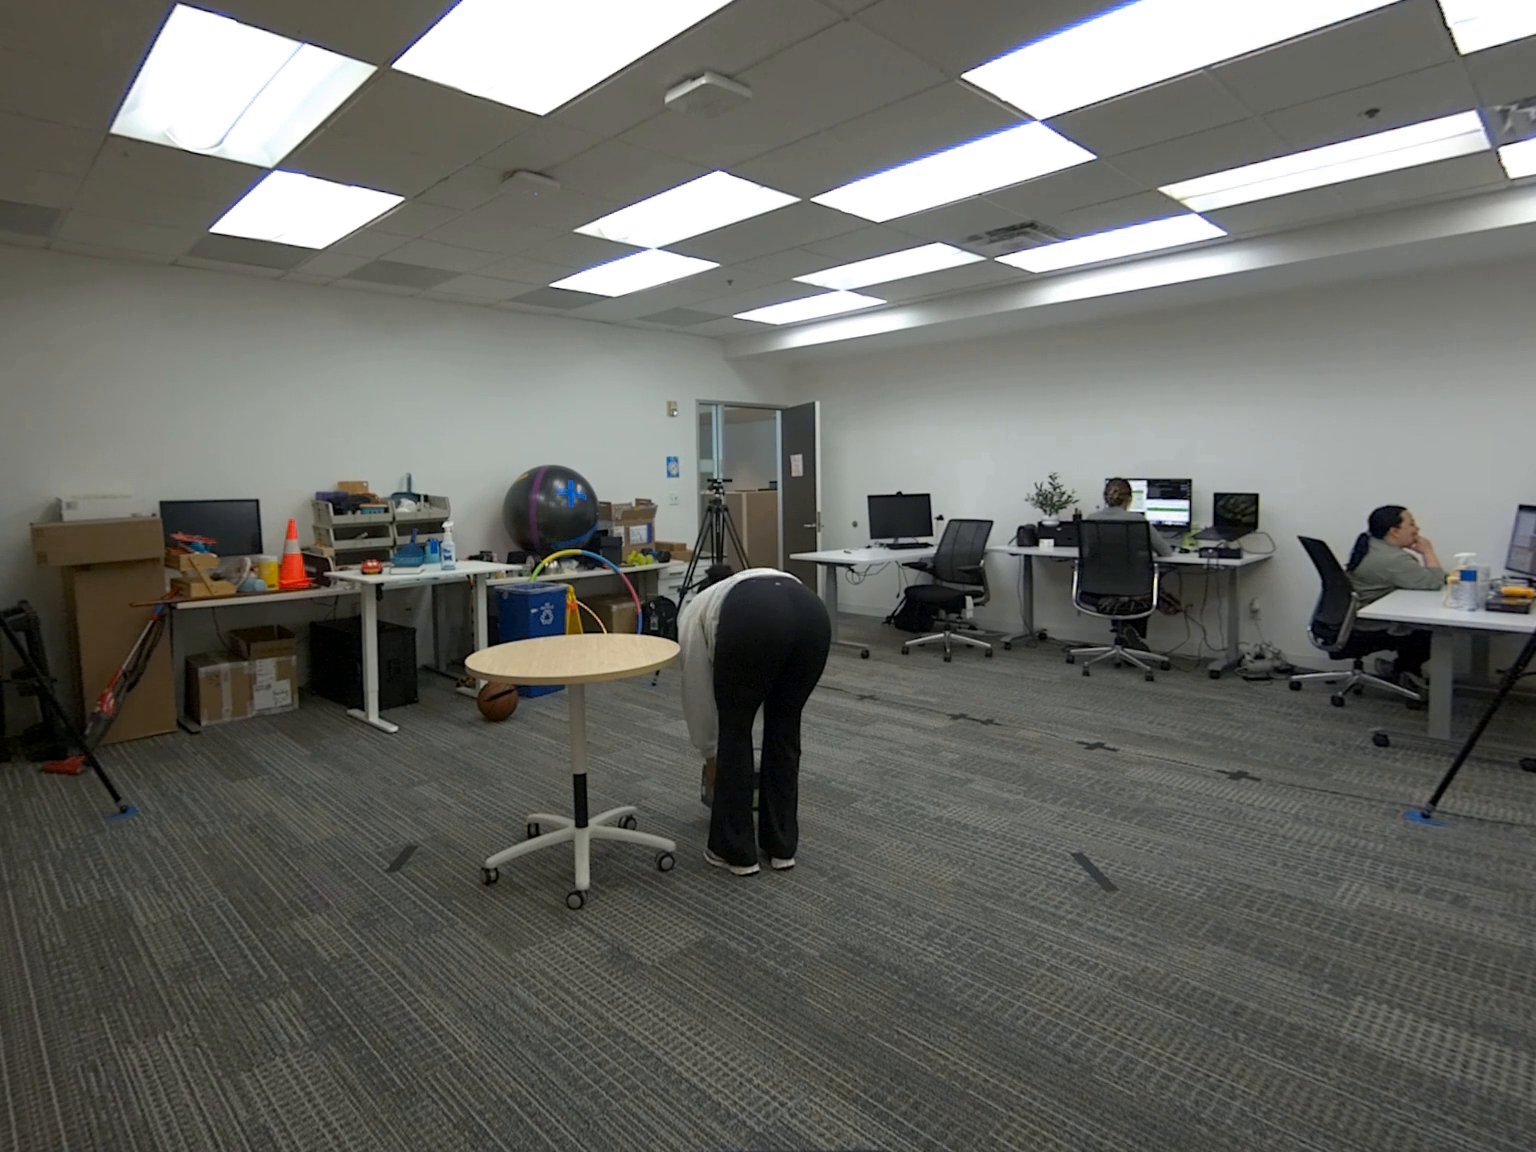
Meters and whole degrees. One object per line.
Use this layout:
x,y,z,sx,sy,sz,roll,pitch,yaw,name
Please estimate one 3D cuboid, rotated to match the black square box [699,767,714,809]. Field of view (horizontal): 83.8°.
-0.128,0.833,3.470,0.224,0.157,0.219,4,-6,-17,black square box
